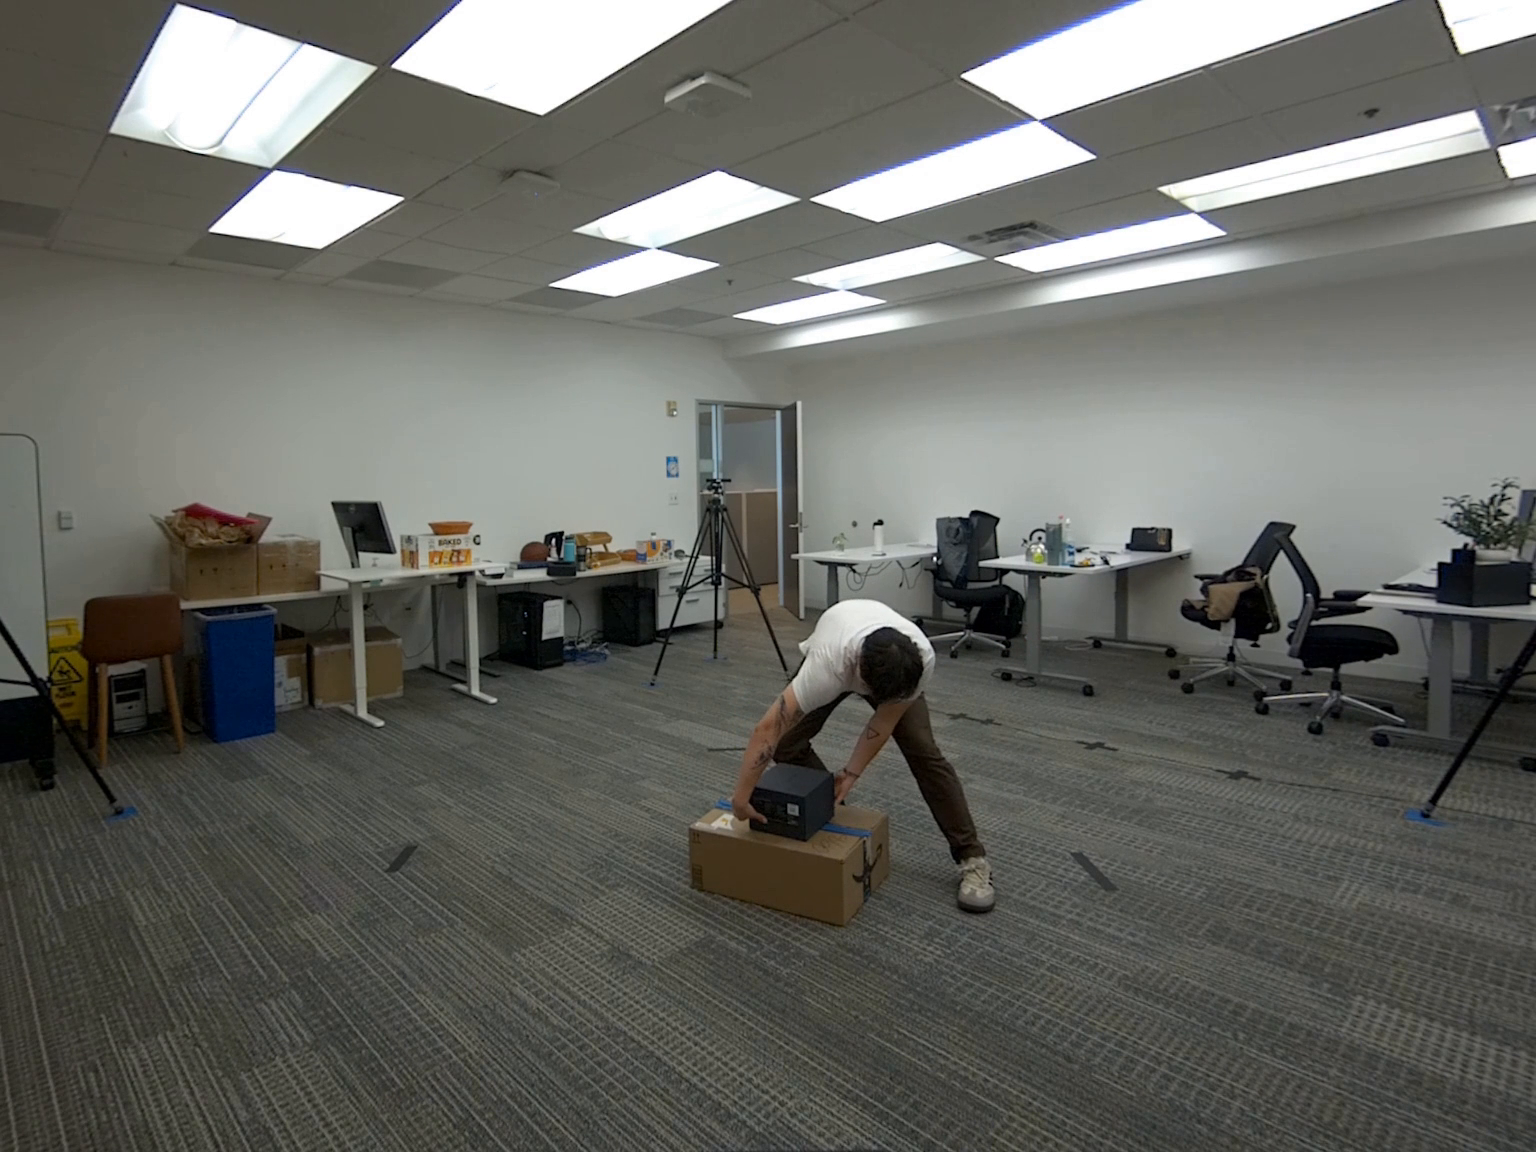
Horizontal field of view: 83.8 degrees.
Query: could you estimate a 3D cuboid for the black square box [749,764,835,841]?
[{"bbox_3d":[0.082,0.764,2.914,0.223,0.155,0.223,2,9,30],"label":"black square box"}]
